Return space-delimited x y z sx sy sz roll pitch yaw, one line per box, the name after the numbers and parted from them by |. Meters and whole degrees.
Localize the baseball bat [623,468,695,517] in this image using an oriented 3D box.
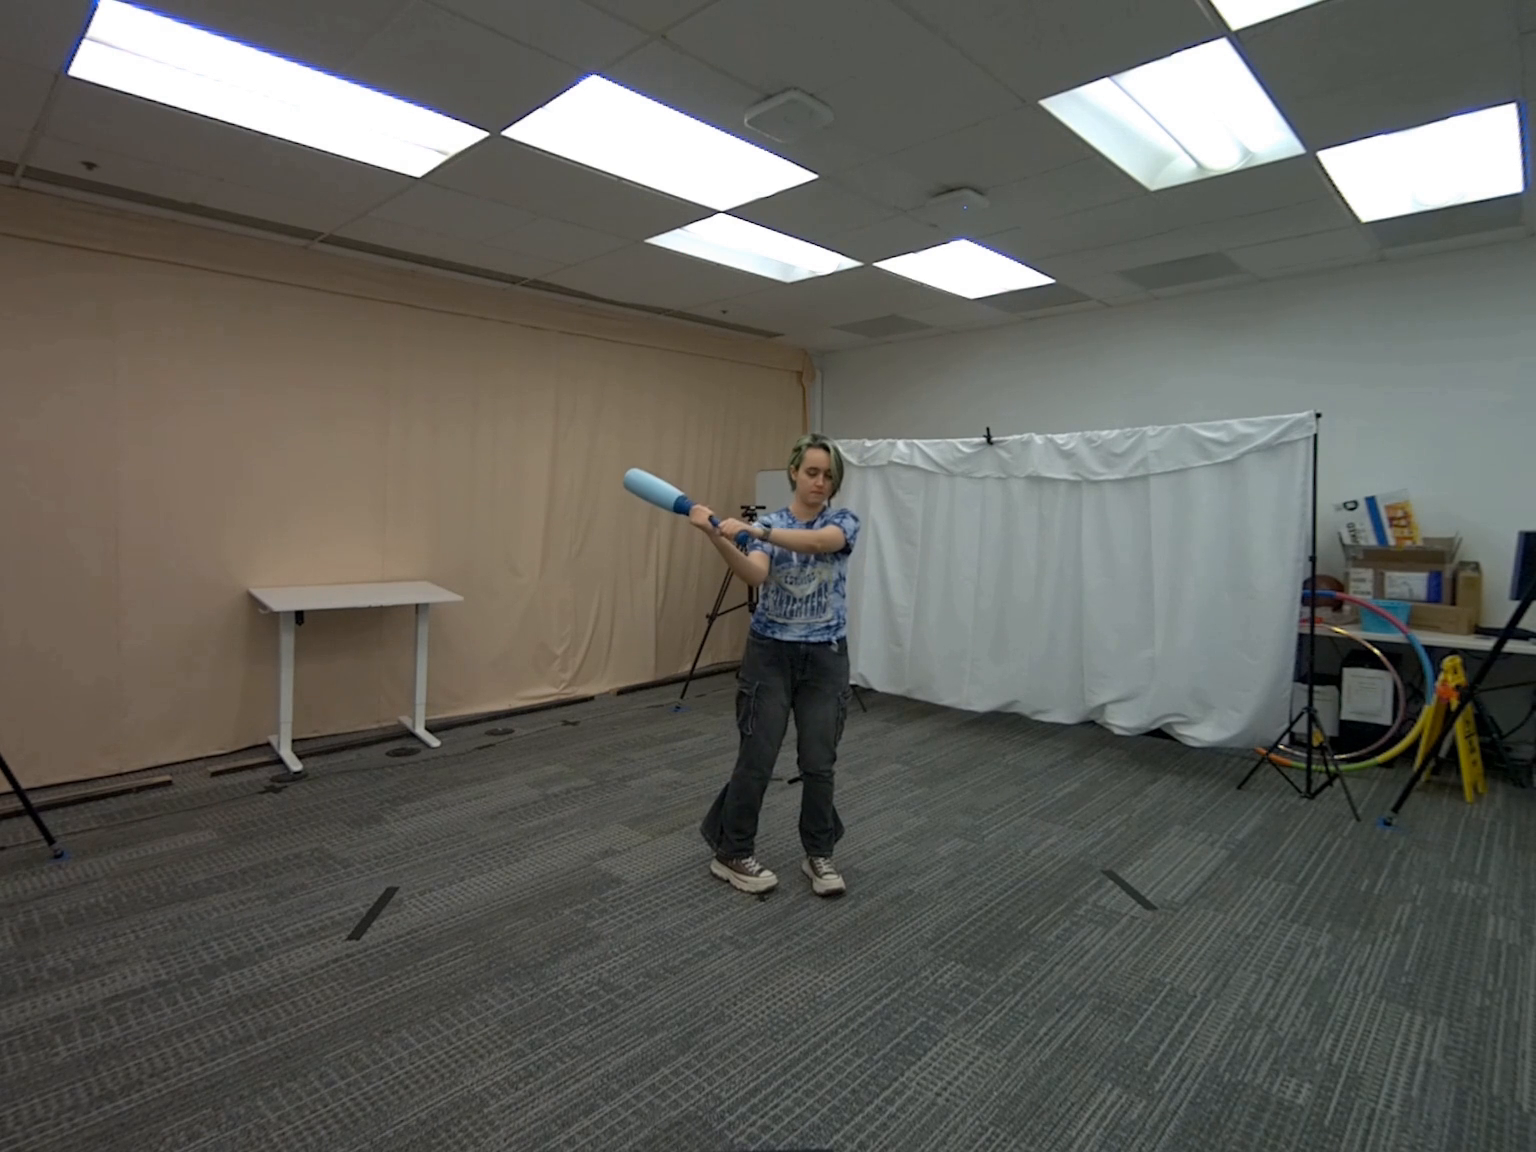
-0.257 -0.225 2.800 0.562 0.088 0.086 29 20 33 | baseball bat
